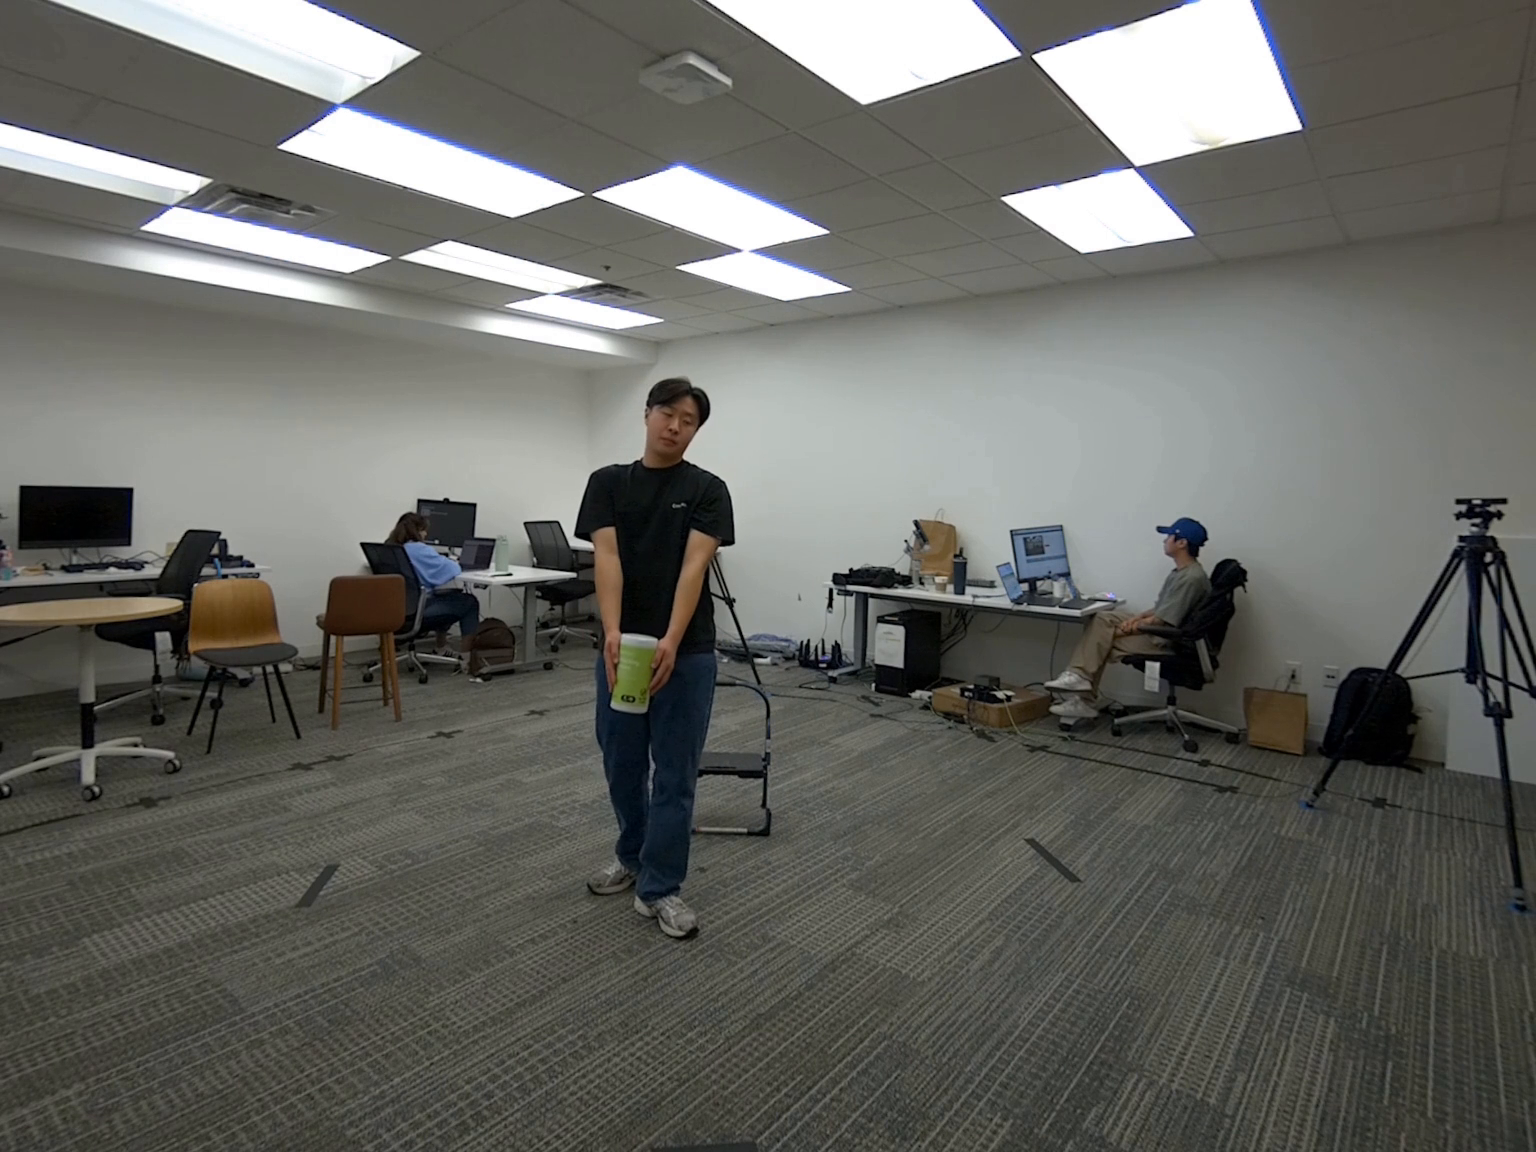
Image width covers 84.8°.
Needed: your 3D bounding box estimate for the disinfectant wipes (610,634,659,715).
[{"bbox_3d":[-0.393,0.282,2.466,0.118,0.218,0.118,7,-1,-2],"label":"disinfectant wipes"}]
